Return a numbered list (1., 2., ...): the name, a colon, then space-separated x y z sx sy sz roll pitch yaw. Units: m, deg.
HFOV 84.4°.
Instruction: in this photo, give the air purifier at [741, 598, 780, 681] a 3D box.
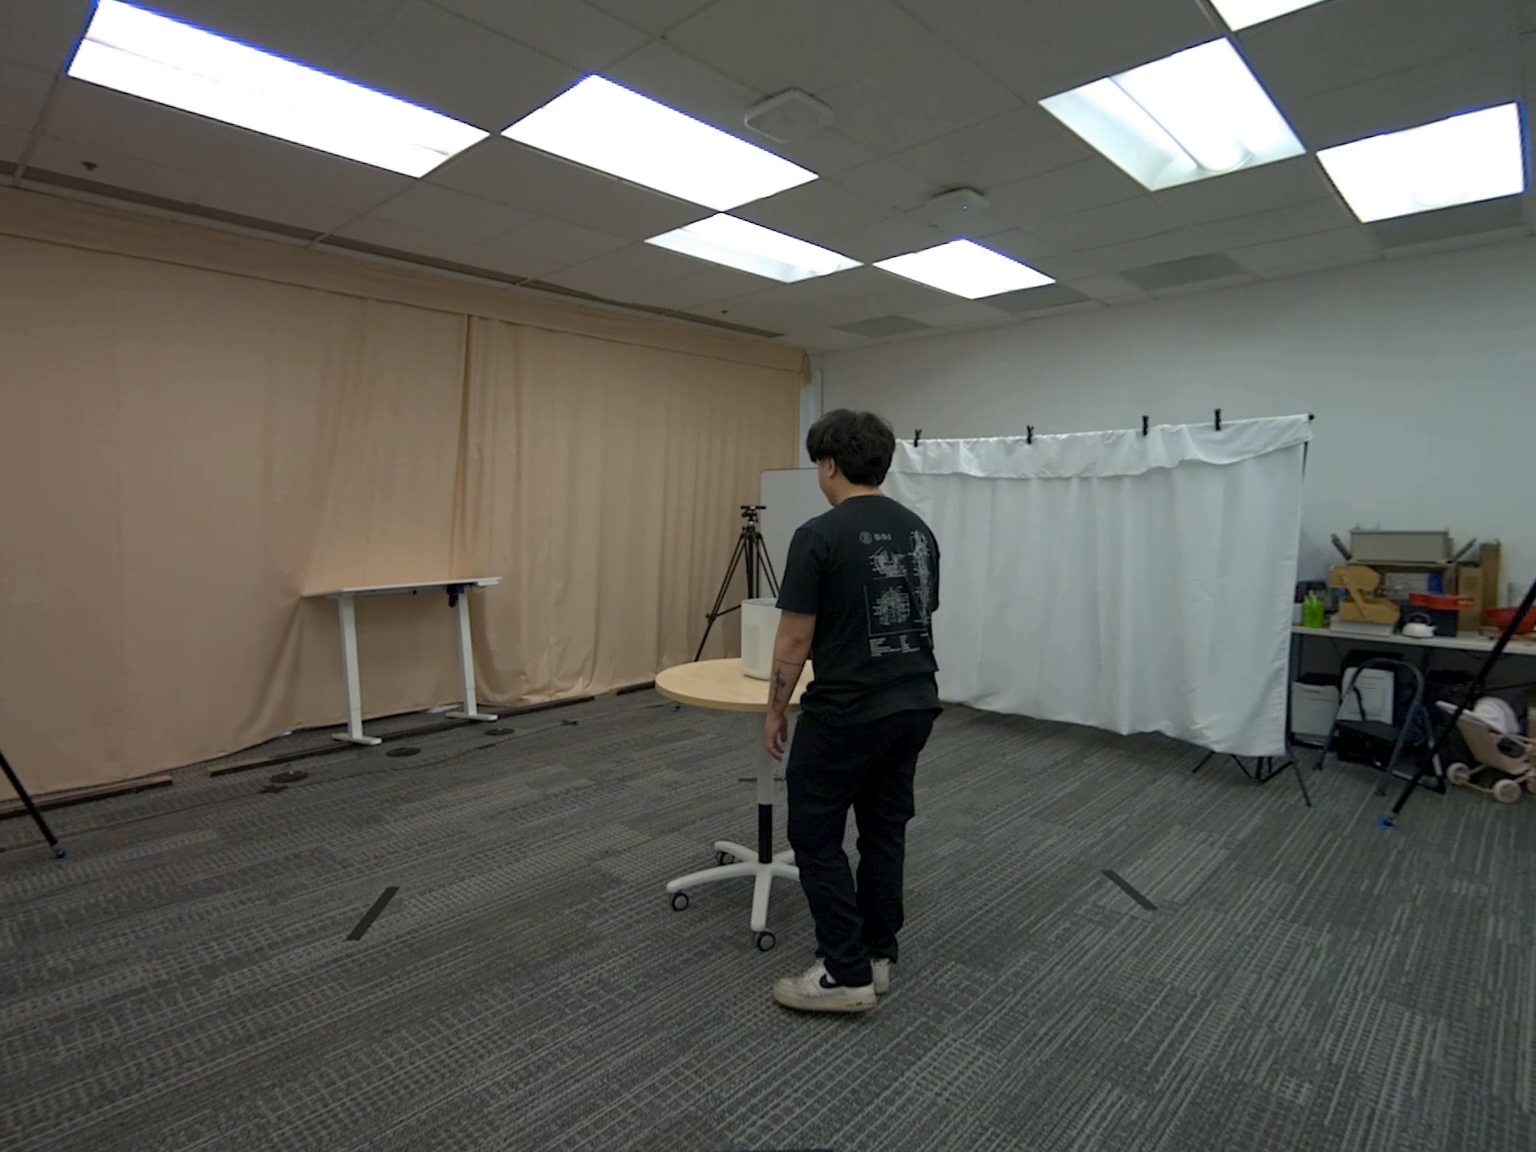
1. air purifier: 0.008 0.221 2.967 0.166 0.265 0.177 -3 4 -40
